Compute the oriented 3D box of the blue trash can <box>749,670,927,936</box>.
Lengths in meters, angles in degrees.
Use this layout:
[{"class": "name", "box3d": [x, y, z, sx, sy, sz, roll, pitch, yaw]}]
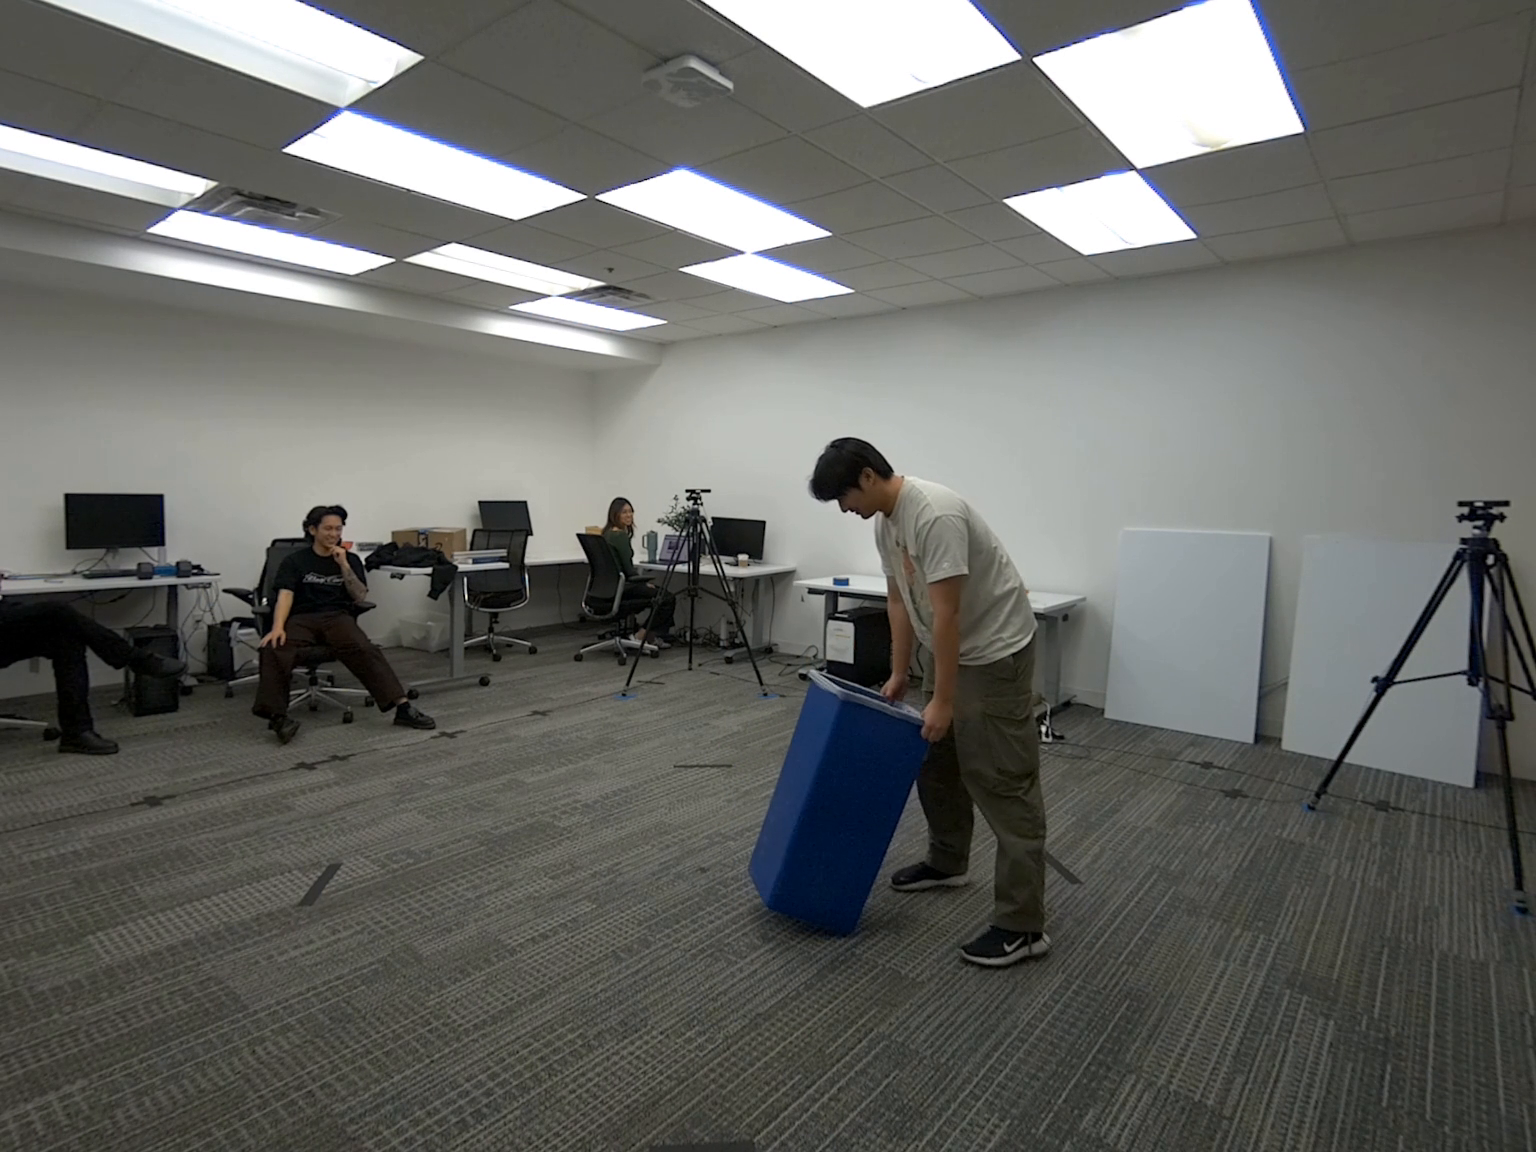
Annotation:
[{"class": "blue trash can", "box3d": [0.218, 0.726, 2.790, 0.368, 0.714, 0.384, 20, -2, -13]}]
